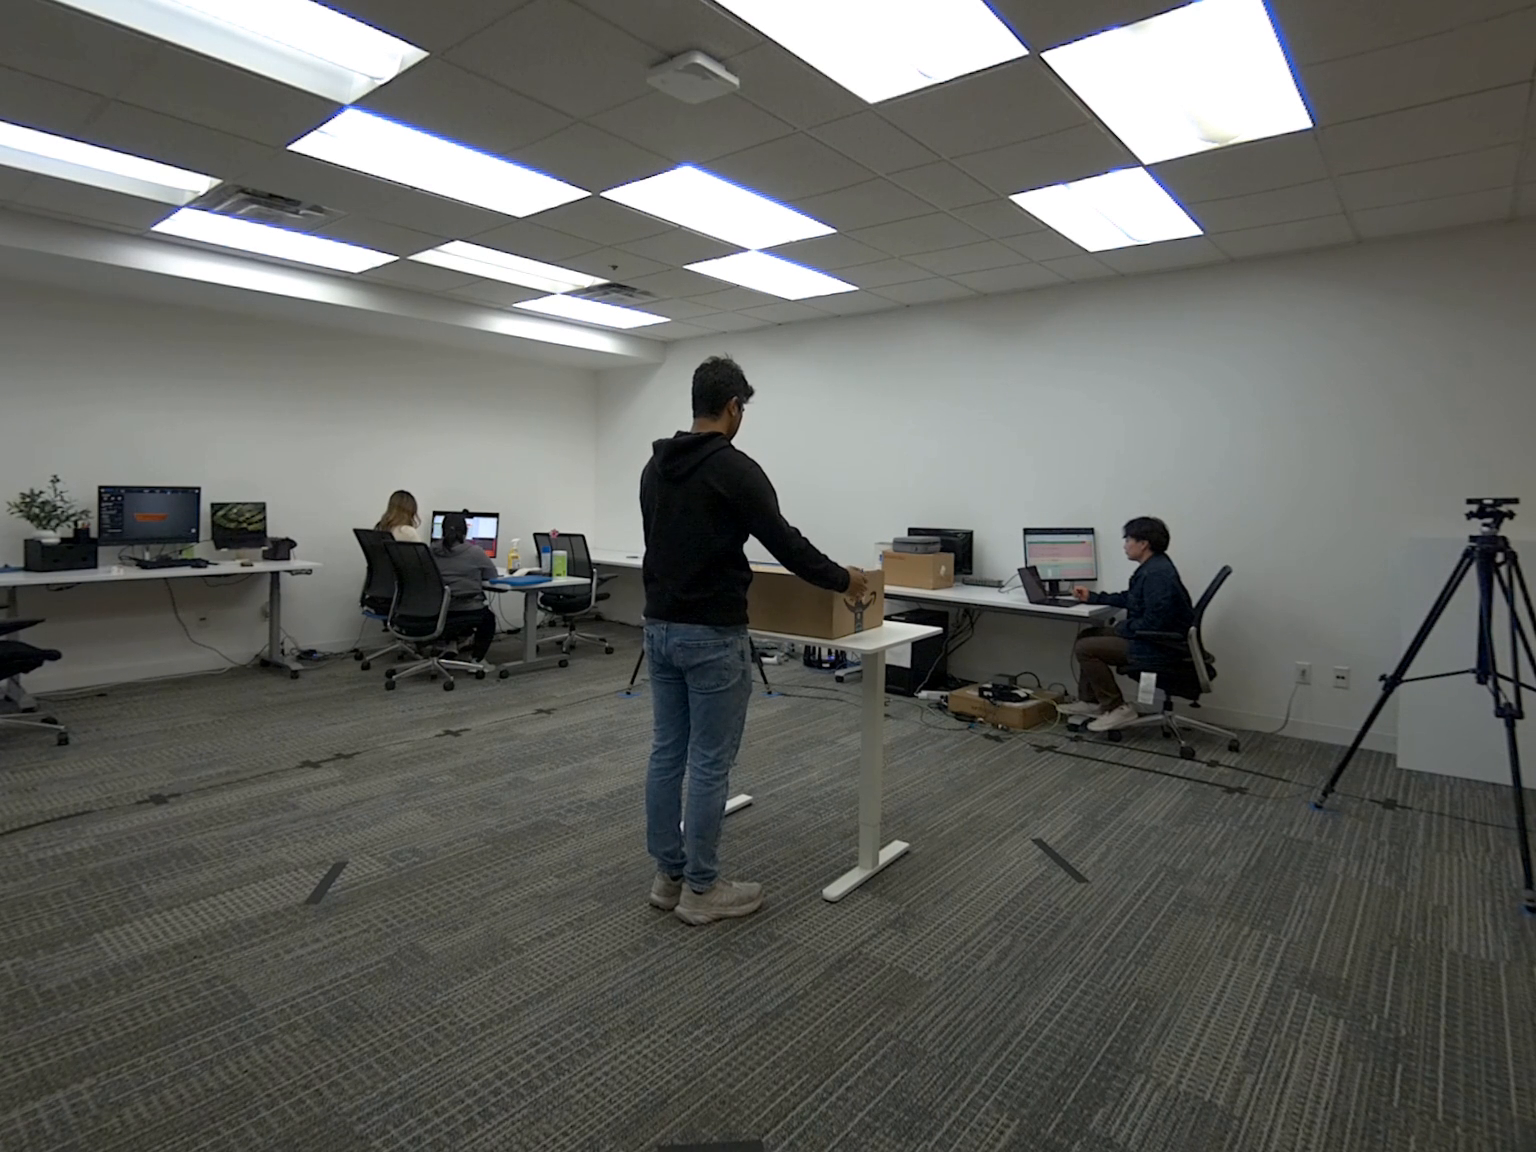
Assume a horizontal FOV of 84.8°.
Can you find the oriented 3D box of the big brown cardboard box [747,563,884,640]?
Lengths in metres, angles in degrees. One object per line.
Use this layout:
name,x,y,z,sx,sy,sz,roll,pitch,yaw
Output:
big brown cardboard box,0.081,0.071,3.220,0.608,0.232,0.406,6,7,33
